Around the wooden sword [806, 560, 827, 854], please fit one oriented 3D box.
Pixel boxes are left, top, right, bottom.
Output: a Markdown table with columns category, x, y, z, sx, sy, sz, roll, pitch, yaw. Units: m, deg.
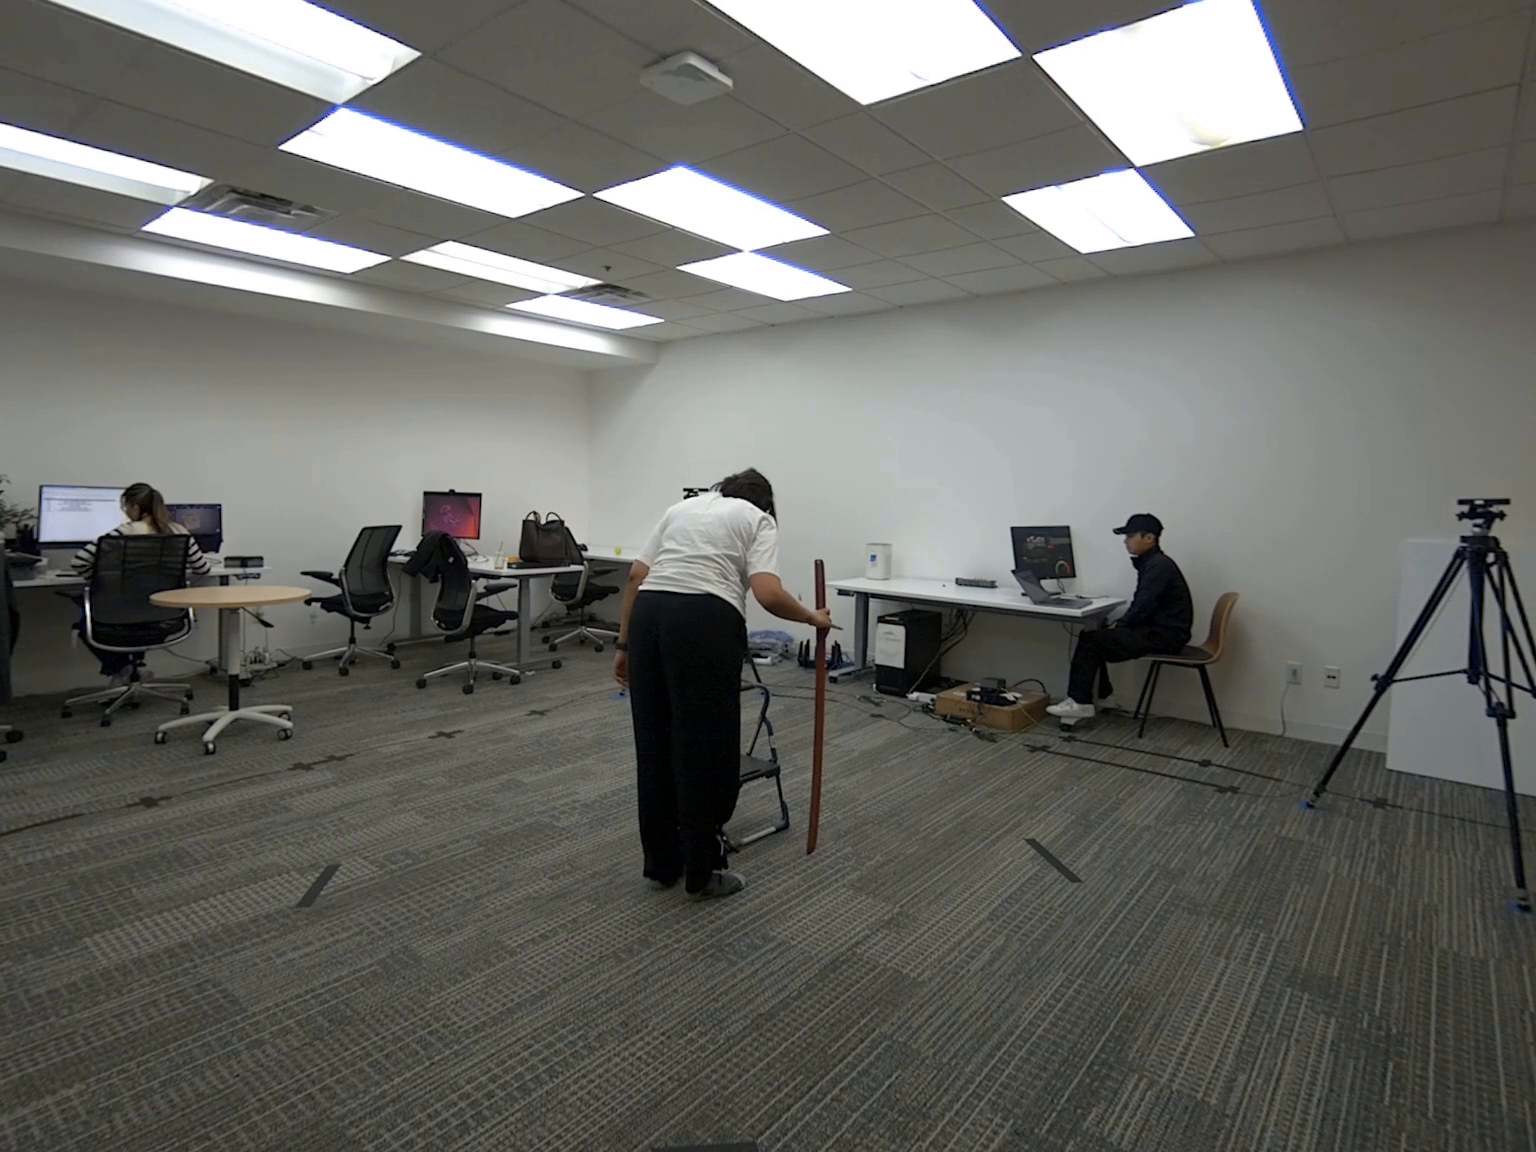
| category | x | y | z | sx | sy | sz | roll | pitch | yaw |
| --- | --- | --- | --- | --- | --- | --- | --- | --- | --- |
| wooden sword | 0.170 | 0.446 | 3.005 | 0.052 | 1.038 | 0.023 | -1 | -15 | 17 |
